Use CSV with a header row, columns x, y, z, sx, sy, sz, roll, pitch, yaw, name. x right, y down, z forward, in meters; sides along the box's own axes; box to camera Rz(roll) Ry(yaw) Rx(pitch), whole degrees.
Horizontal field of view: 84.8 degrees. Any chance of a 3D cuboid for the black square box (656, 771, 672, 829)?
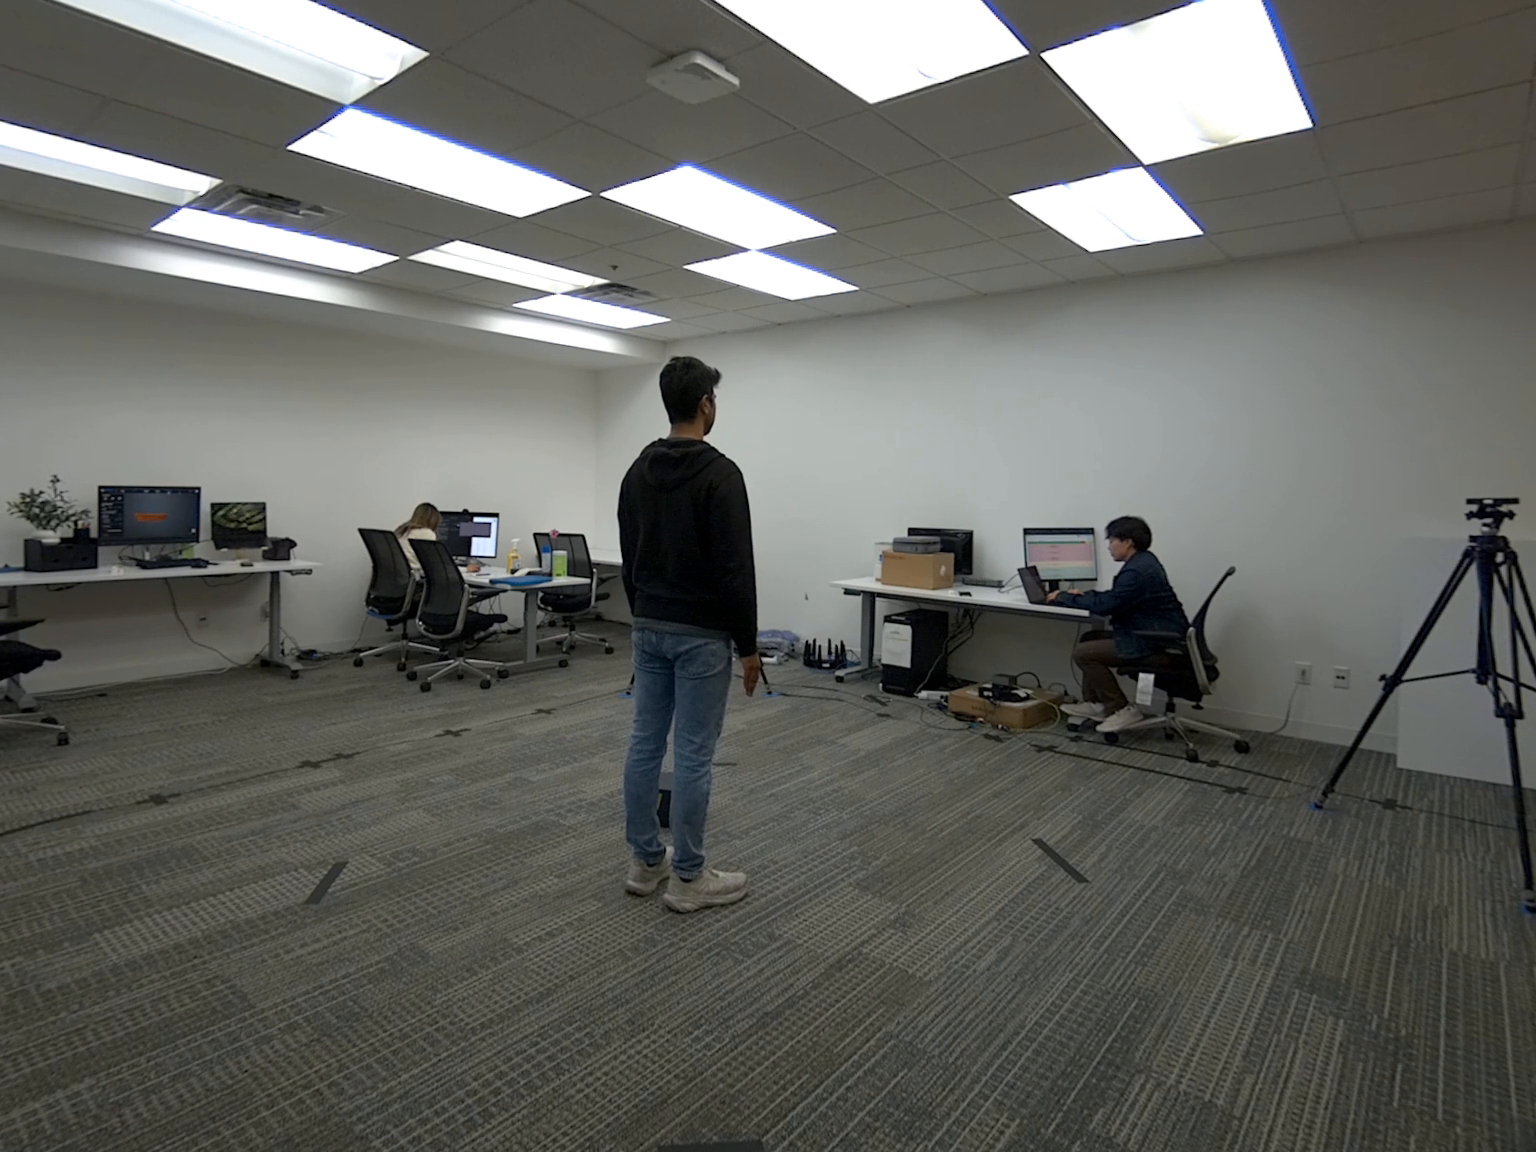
x,y,z,sx,sy,sz,roll,pitch,yaw,name
-0.437,0.924,3.580,0.231,0.155,0.215,2,4,12,black square box
